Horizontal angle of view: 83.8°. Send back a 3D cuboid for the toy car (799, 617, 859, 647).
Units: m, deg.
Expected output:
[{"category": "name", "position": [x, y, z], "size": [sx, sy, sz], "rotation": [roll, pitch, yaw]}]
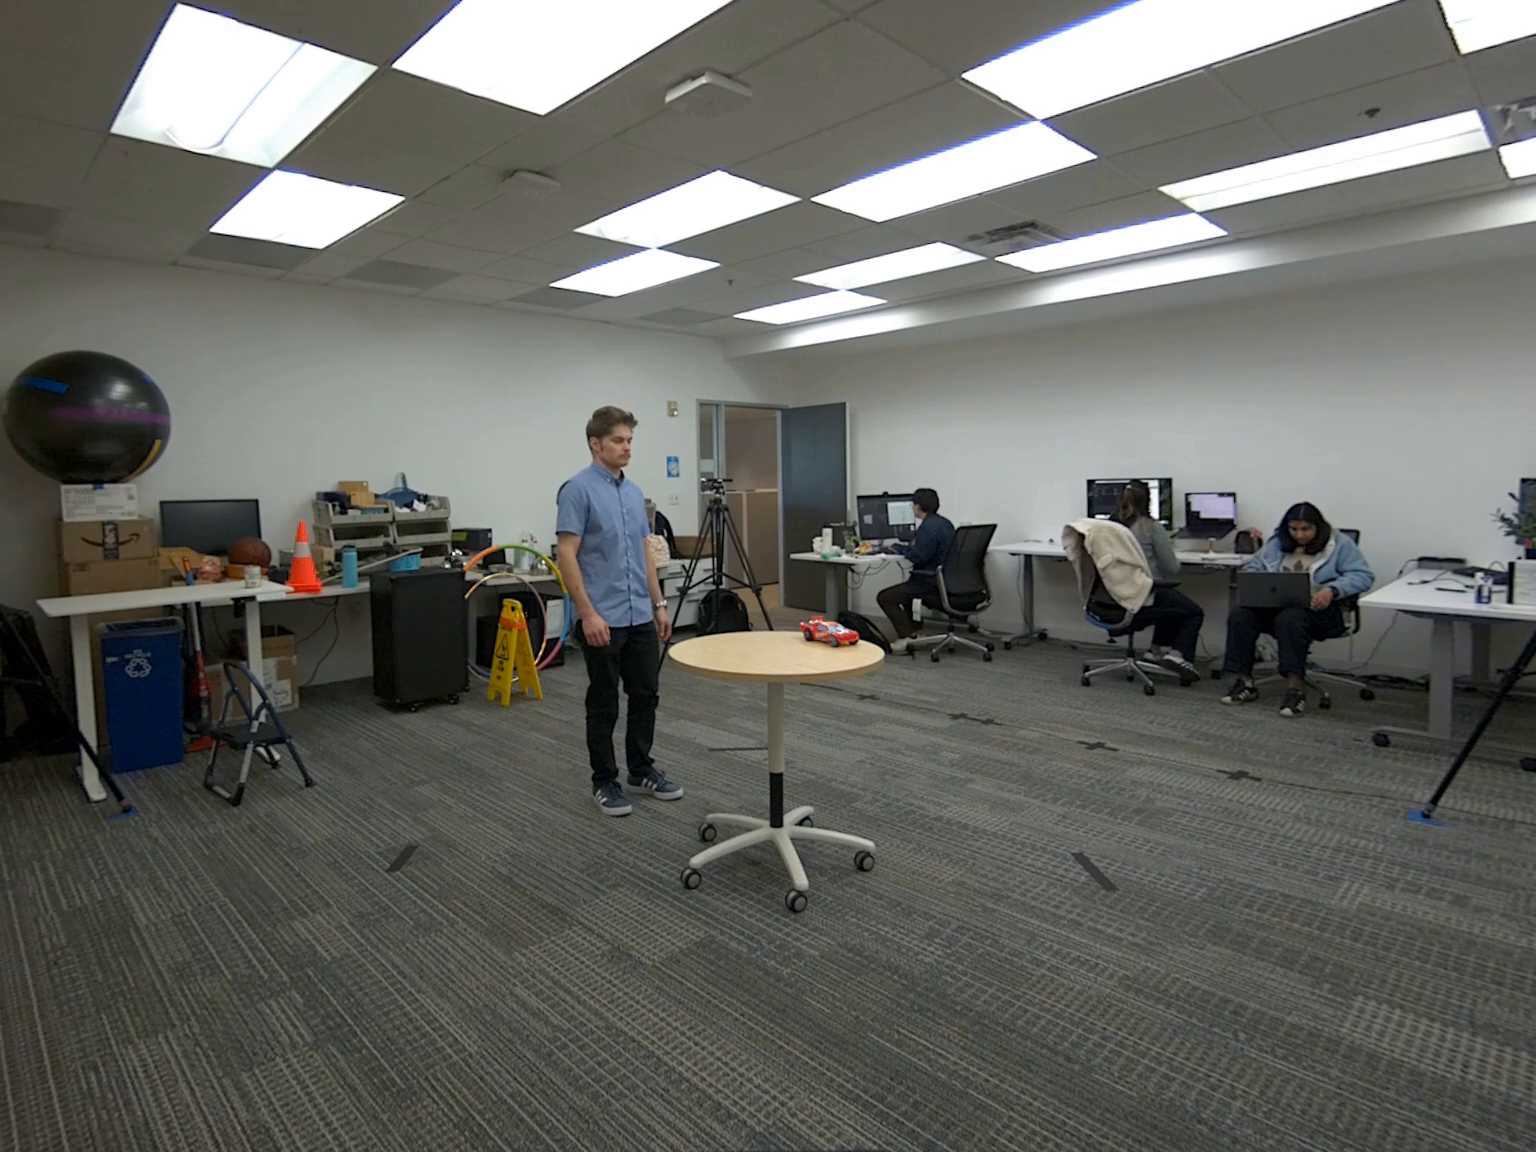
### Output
[{"category": "toy car", "position": [0.228, 0.214, 3.215], "size": [0.127, 0.082, 0.264], "rotation": [-4, 18, -34]}]
